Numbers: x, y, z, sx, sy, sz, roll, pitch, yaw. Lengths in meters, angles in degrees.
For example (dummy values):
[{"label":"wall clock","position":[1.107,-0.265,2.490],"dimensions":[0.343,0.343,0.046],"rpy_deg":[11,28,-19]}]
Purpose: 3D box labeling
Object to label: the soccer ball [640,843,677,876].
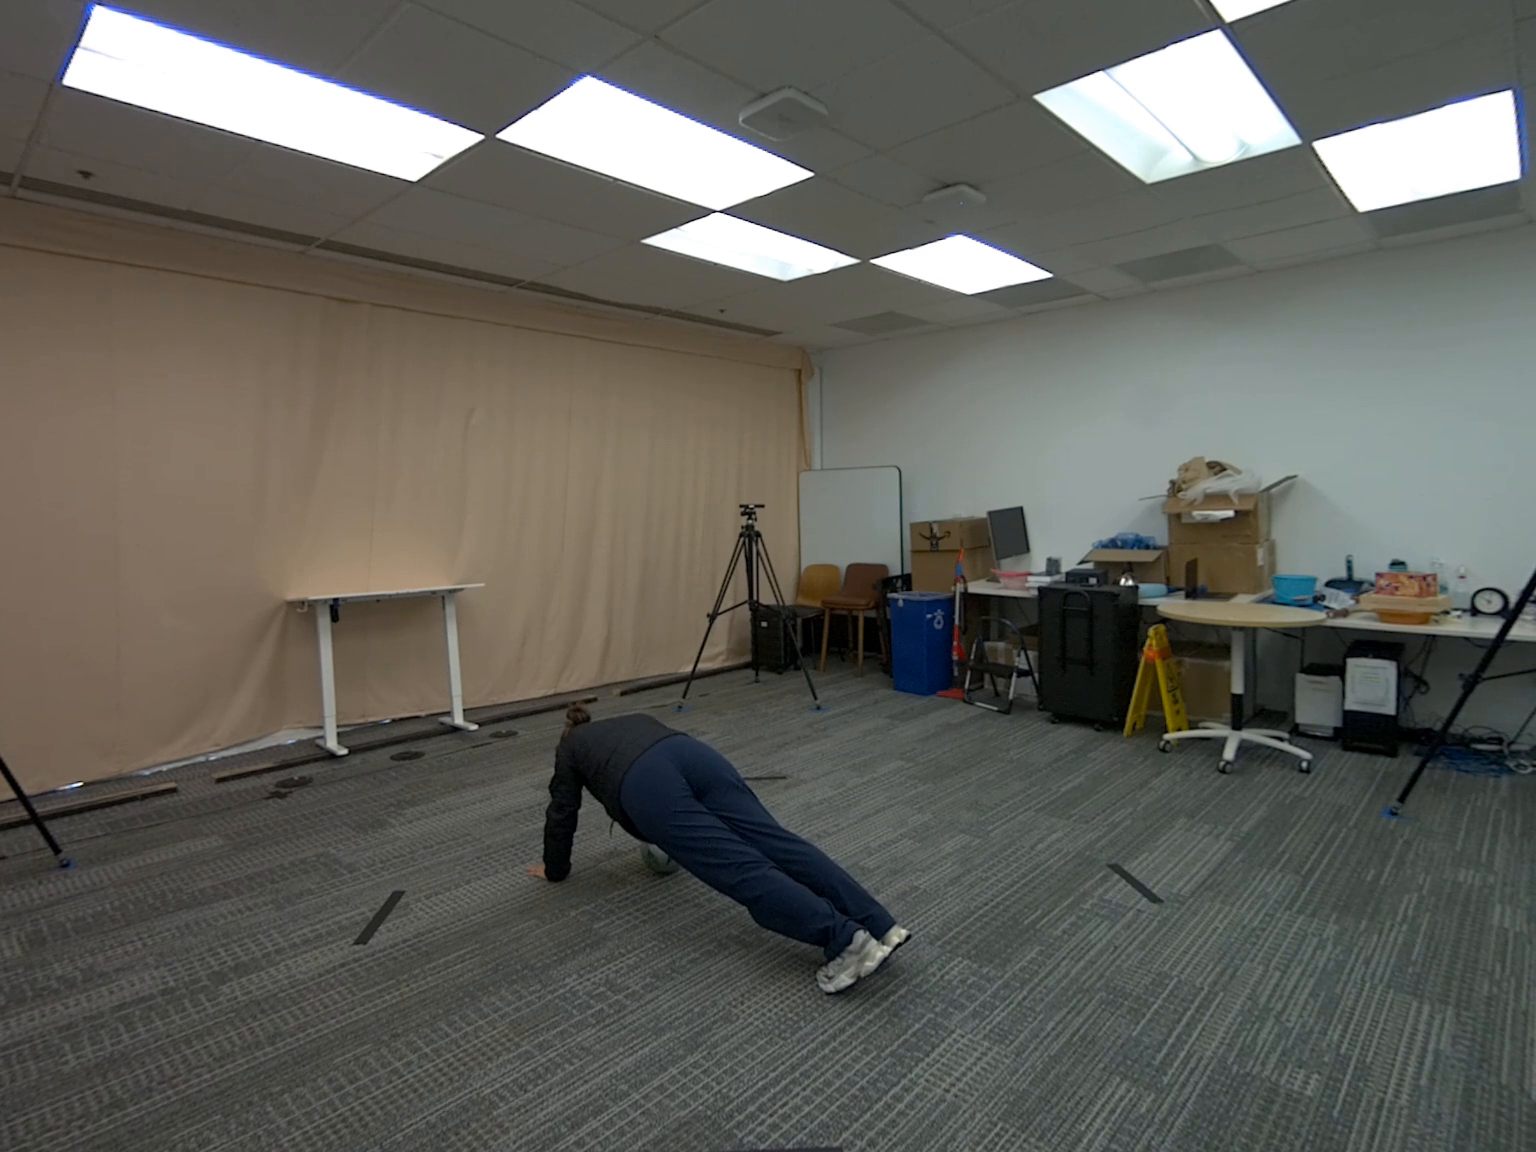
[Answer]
[{"label":"soccer ball","position":[-0.392,1.034,3.210],"dimensions":[0.187,0.187,0.188],"rpy_deg":[-1,4,-2]}]
